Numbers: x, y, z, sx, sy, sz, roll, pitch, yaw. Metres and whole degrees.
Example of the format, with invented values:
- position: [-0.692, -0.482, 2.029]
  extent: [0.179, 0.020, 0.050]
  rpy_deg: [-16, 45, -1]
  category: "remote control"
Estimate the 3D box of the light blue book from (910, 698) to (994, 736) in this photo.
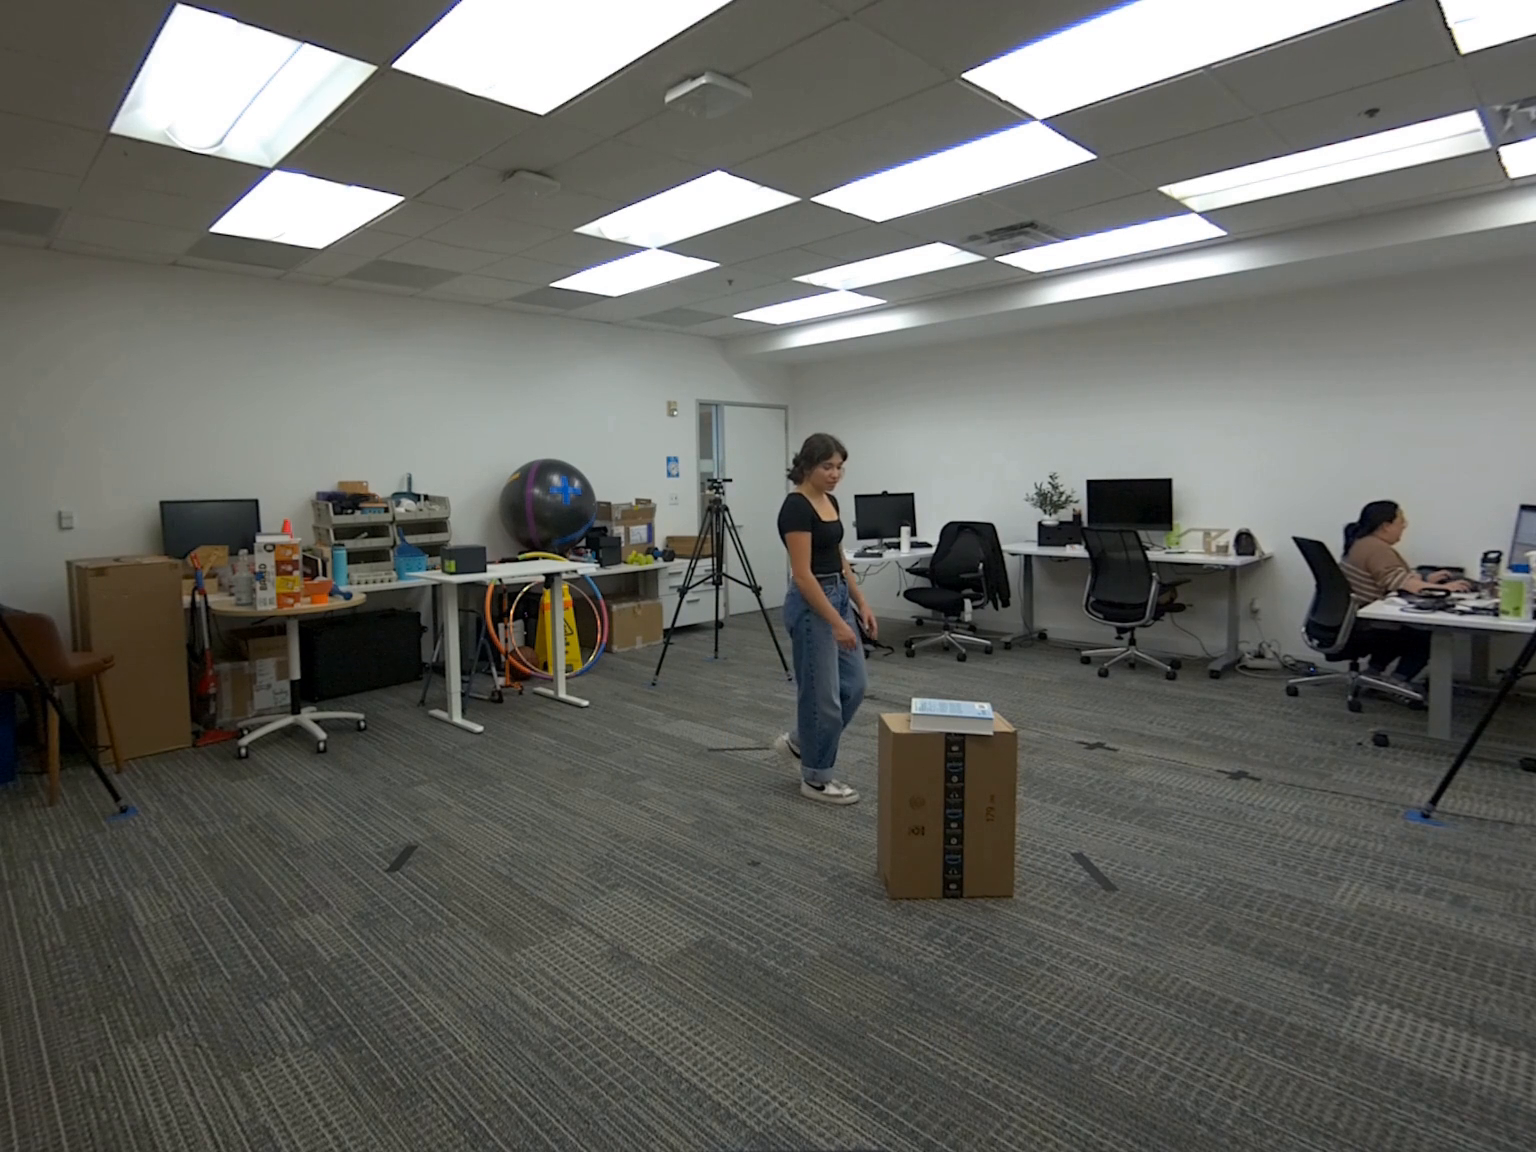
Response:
- position: [0.625, 0.474, 2.873]
  extent: [0.264, 0.059, 0.190]
  rpy_deg: [1, 8, 12]
  category: "light blue book"
